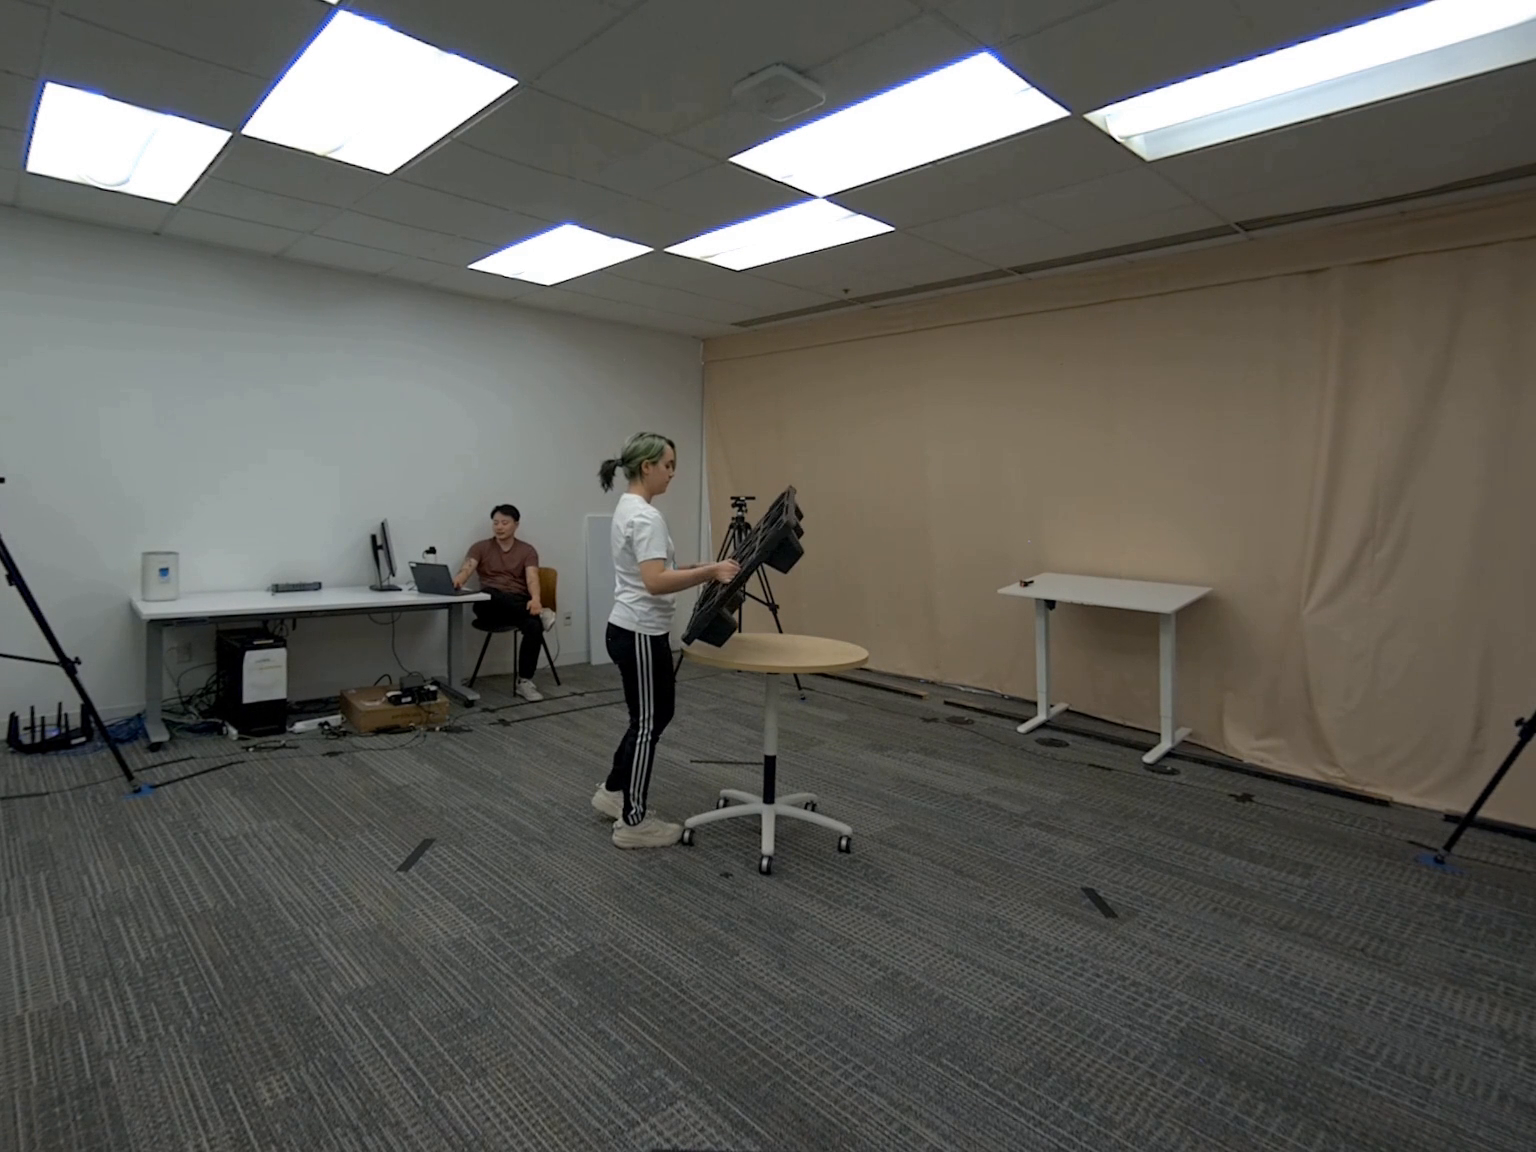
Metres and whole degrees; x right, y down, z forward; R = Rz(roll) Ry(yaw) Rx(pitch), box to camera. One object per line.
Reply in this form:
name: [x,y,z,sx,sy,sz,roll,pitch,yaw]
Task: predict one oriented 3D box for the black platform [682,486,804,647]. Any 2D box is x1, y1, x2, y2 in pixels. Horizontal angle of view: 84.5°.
black platform: [-0.078,-0.040,3.372,0.142,0.604,0.811,37,13,-7]
